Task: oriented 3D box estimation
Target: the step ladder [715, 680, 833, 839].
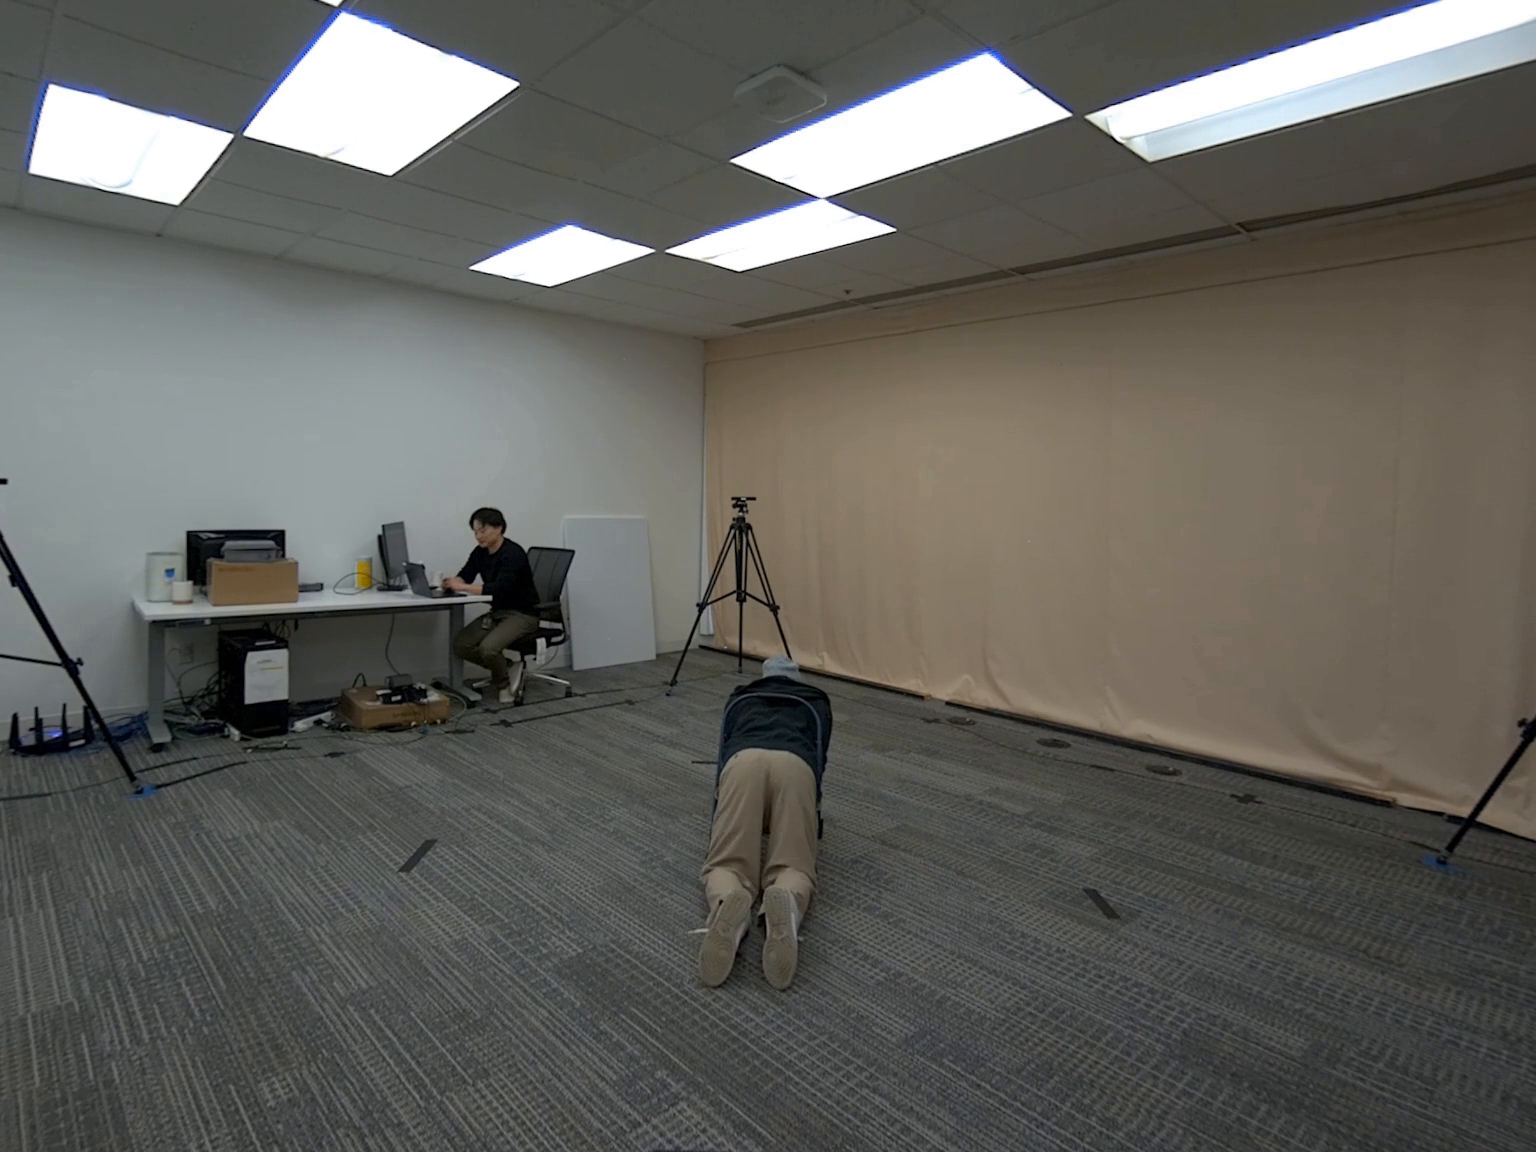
[{"bbox_3d":[-0.005,0.796,3.352,0.434,0.604,0.347,2,4,9],"label":"step ladder"}]
